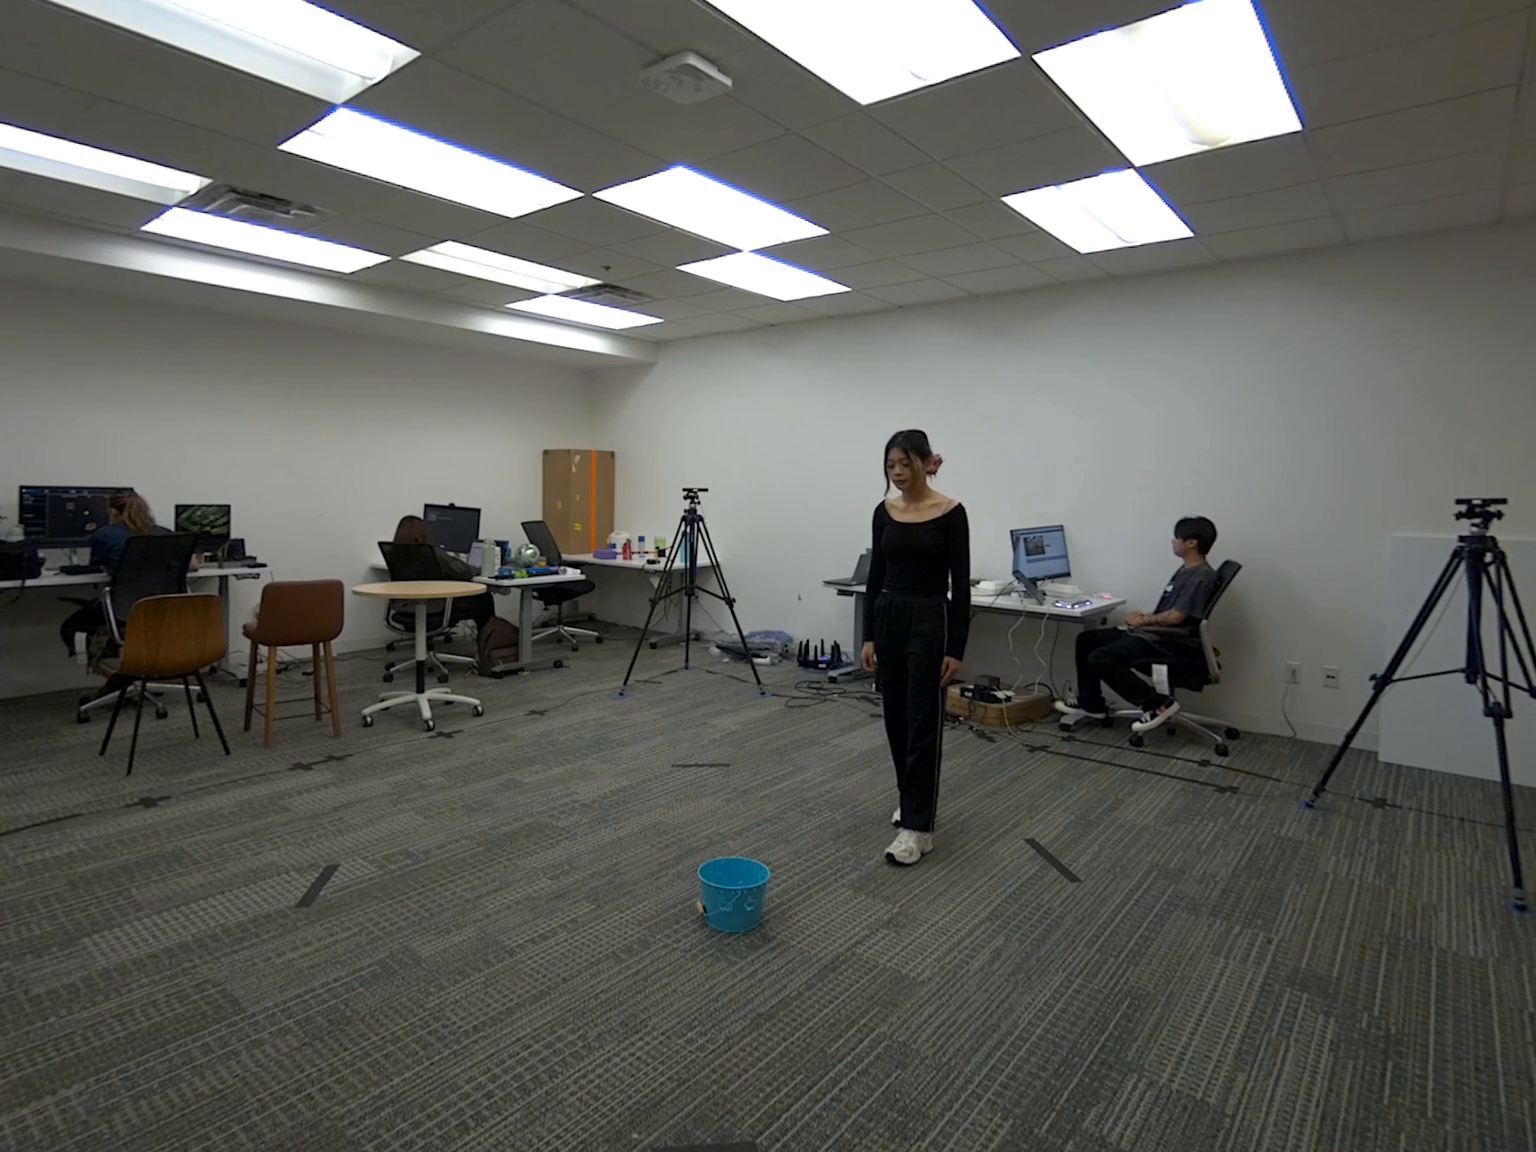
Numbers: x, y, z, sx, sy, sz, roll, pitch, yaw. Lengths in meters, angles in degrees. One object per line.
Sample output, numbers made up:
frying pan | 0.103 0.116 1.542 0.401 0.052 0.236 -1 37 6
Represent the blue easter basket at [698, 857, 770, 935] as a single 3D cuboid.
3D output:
blue easter basket | -0.125 1.027 2.755 0.243 0.155 0.245 1 5 -2
